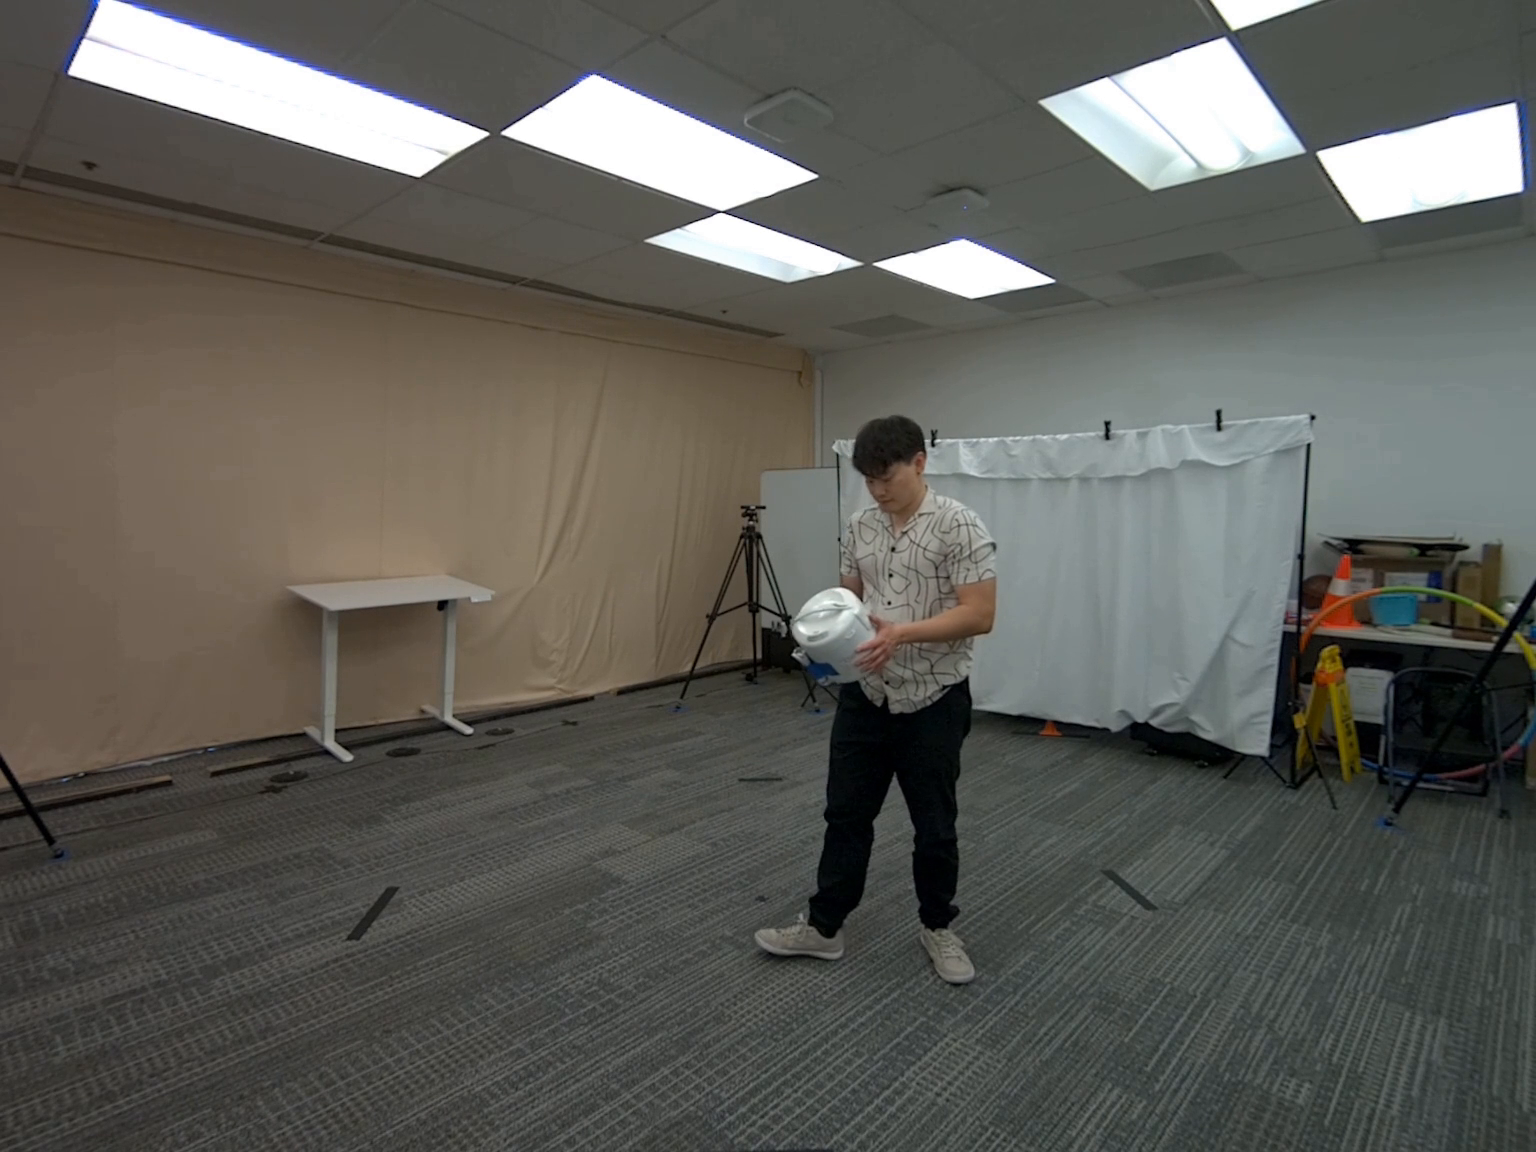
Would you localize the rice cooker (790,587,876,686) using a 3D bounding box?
[{"bbox_3d":[0.190,0.156,2.354,0.226,0.219,0.226,-16,-51,34],"label":"rice cooker"}]
